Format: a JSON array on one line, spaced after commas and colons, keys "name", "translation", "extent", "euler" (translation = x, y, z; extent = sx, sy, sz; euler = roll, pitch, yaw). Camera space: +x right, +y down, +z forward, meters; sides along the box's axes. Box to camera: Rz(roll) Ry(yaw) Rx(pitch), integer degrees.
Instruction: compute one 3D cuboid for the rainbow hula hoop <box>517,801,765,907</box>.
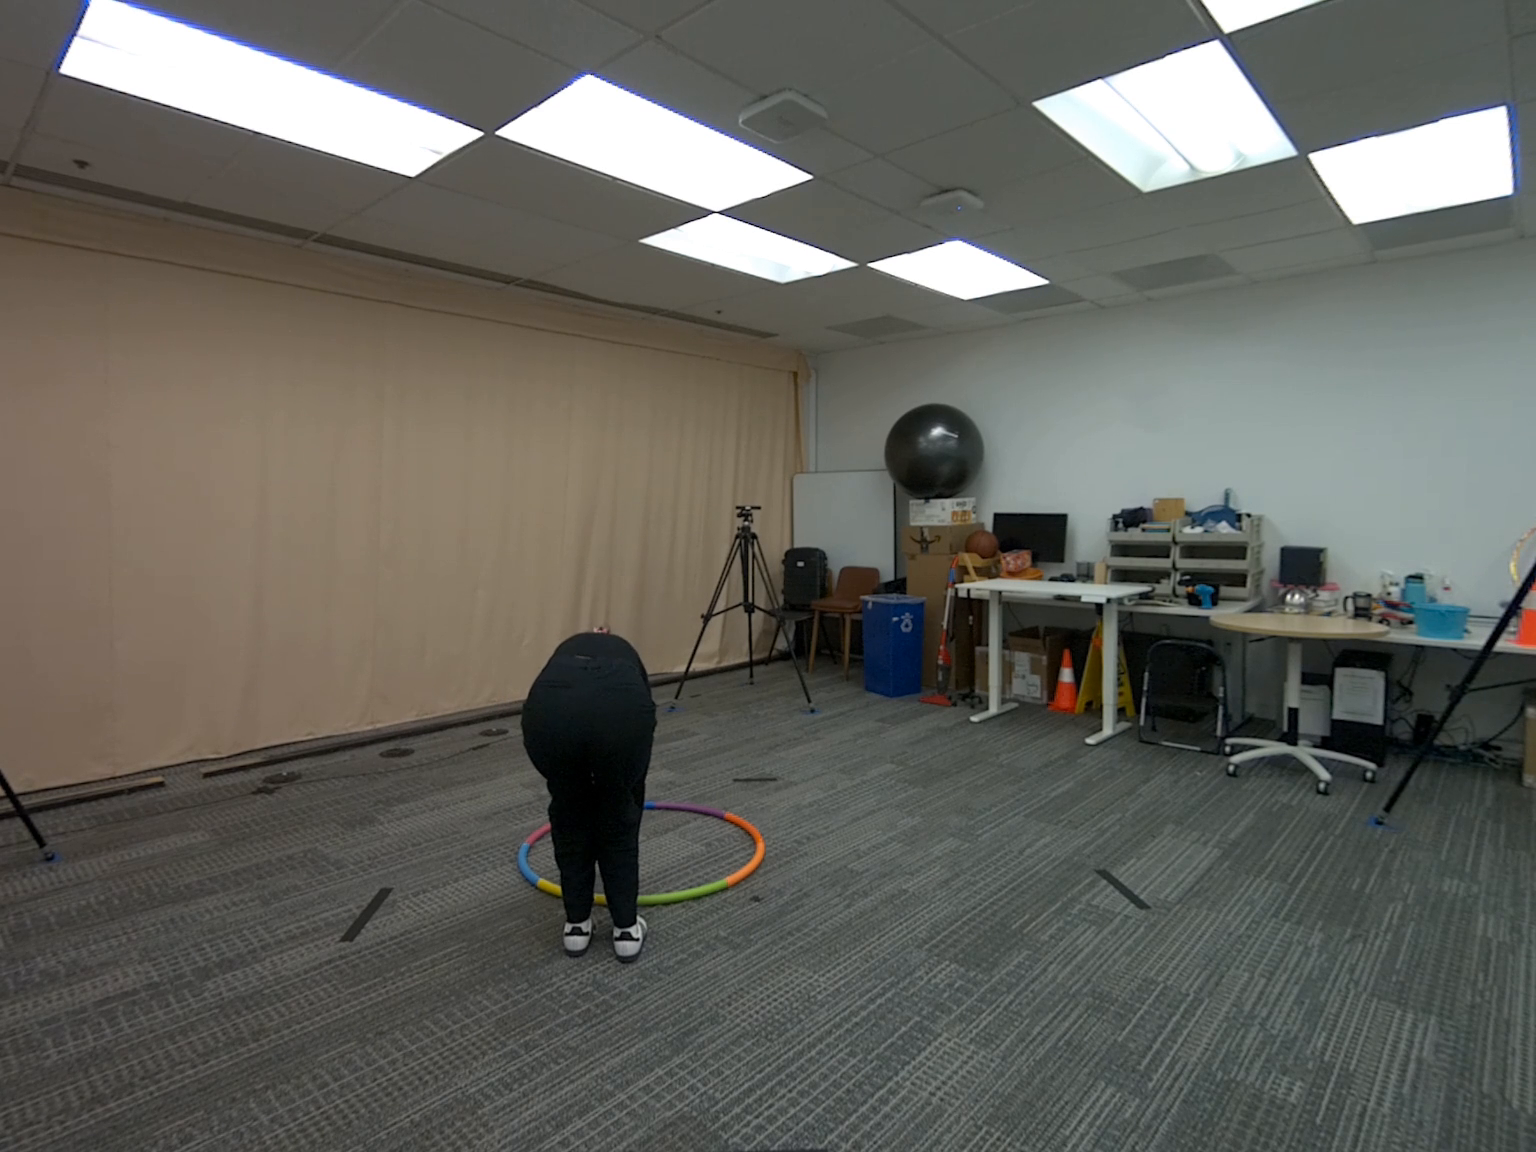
[{"name": "rainbow hula hoop", "translation": [-0.504, 1.082, 3.405], "extent": [0.978, 0.035, 0.982], "euler": [-1, 4, -2]}]
